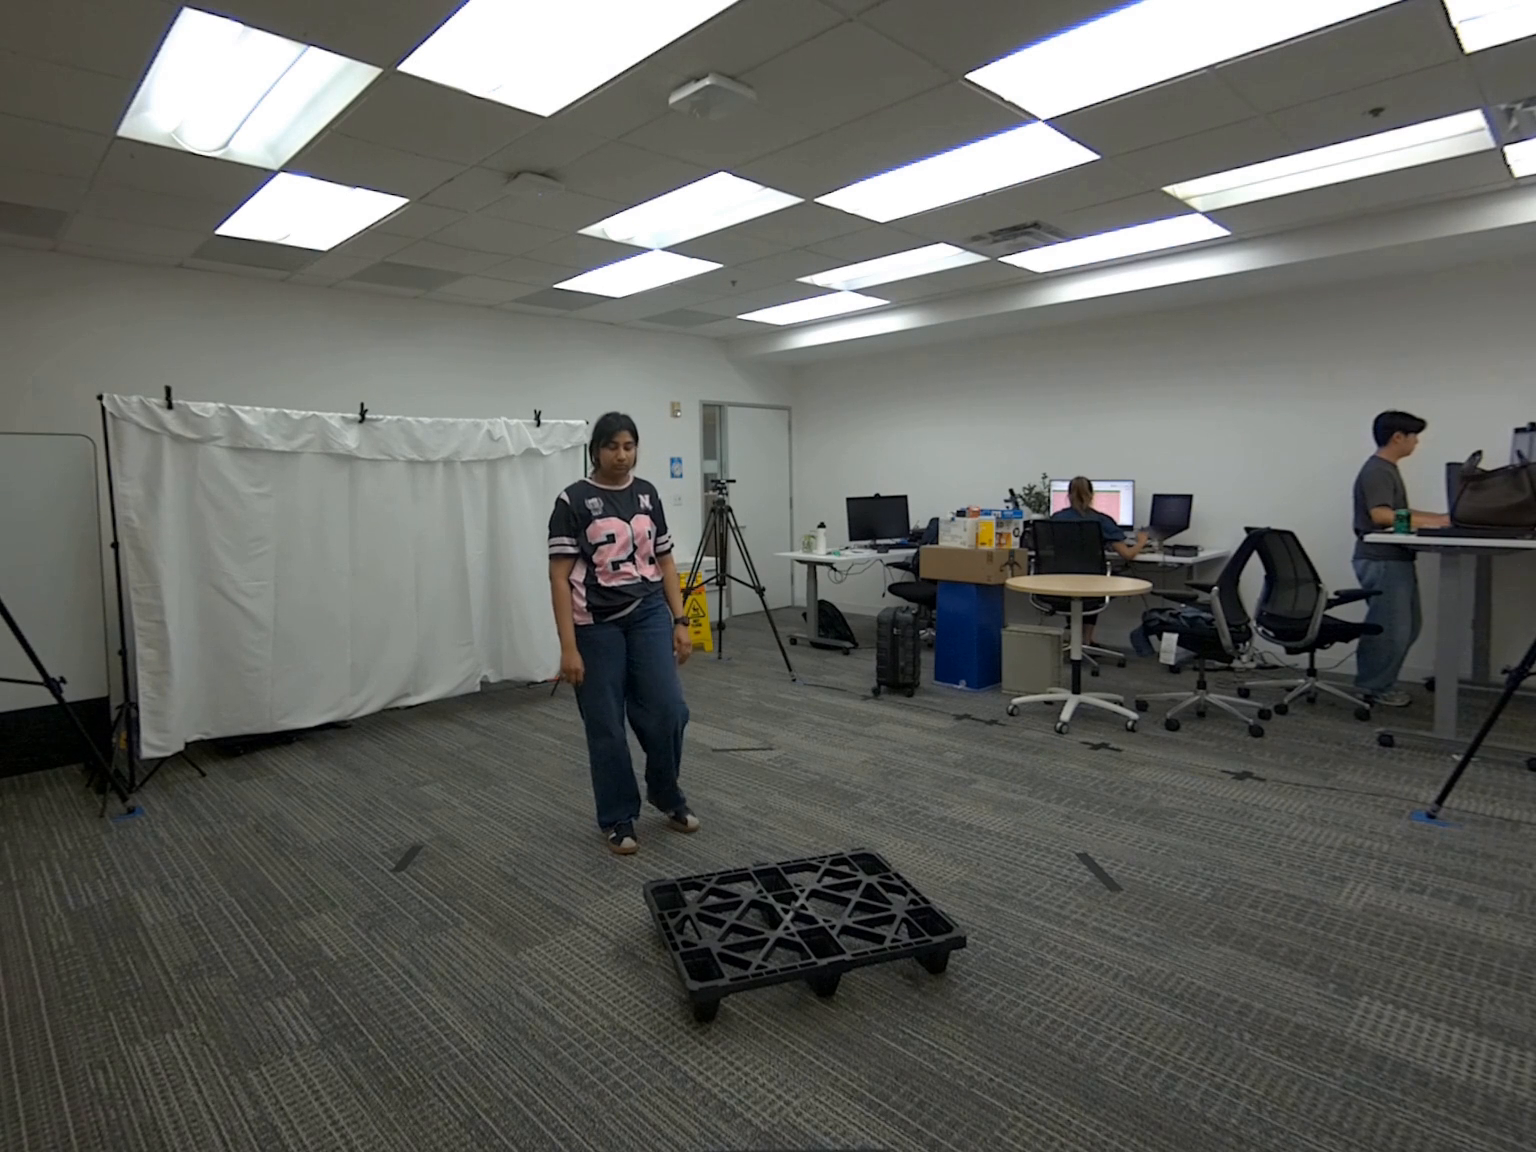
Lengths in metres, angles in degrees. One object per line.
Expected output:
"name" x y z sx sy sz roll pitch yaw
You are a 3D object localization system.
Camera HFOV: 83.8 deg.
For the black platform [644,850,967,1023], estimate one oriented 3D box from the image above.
"black platform" 0.088 1.043 2.524 0.793 0.142 0.618 -4 7 -17
